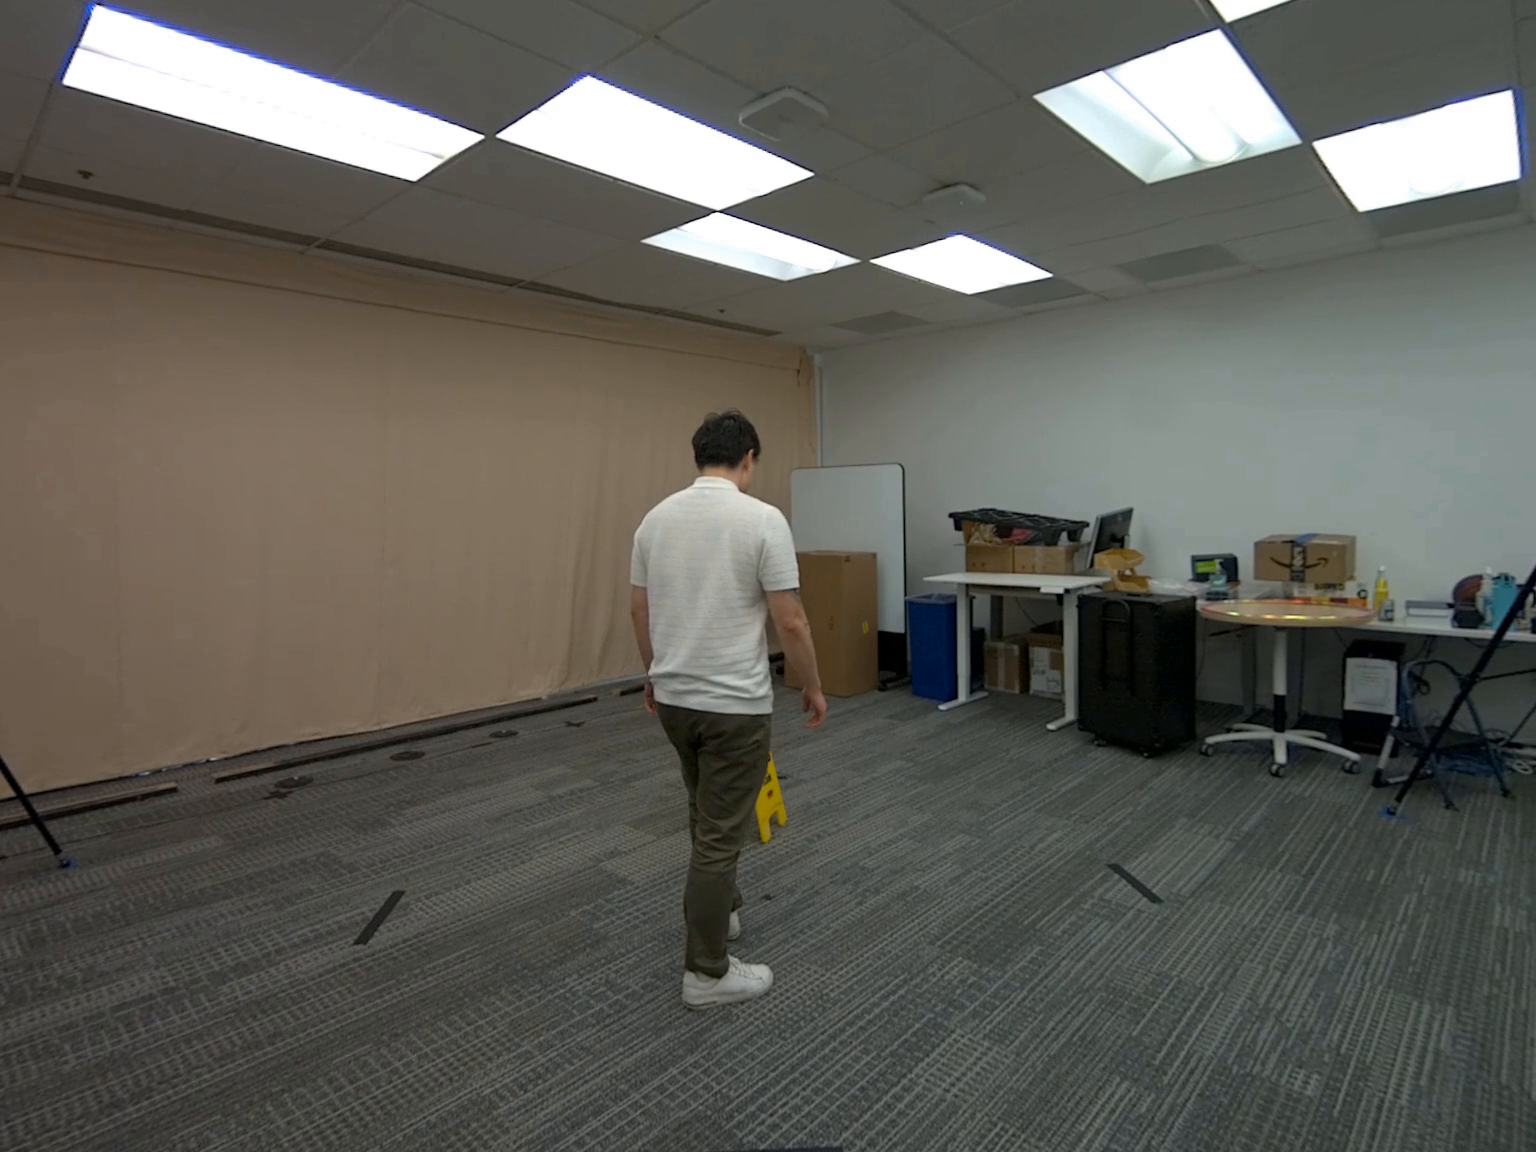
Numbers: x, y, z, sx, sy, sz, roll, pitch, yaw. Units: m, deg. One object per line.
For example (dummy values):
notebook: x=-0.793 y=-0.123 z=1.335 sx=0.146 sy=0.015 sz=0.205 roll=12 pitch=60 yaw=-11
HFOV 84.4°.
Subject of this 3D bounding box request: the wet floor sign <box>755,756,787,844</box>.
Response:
wet floor sign: x=-0.108 y=0.764 z=3.623 sx=0.296 sy=0.645 sz=0.276 roll=0 pitch=2 yaw=22
